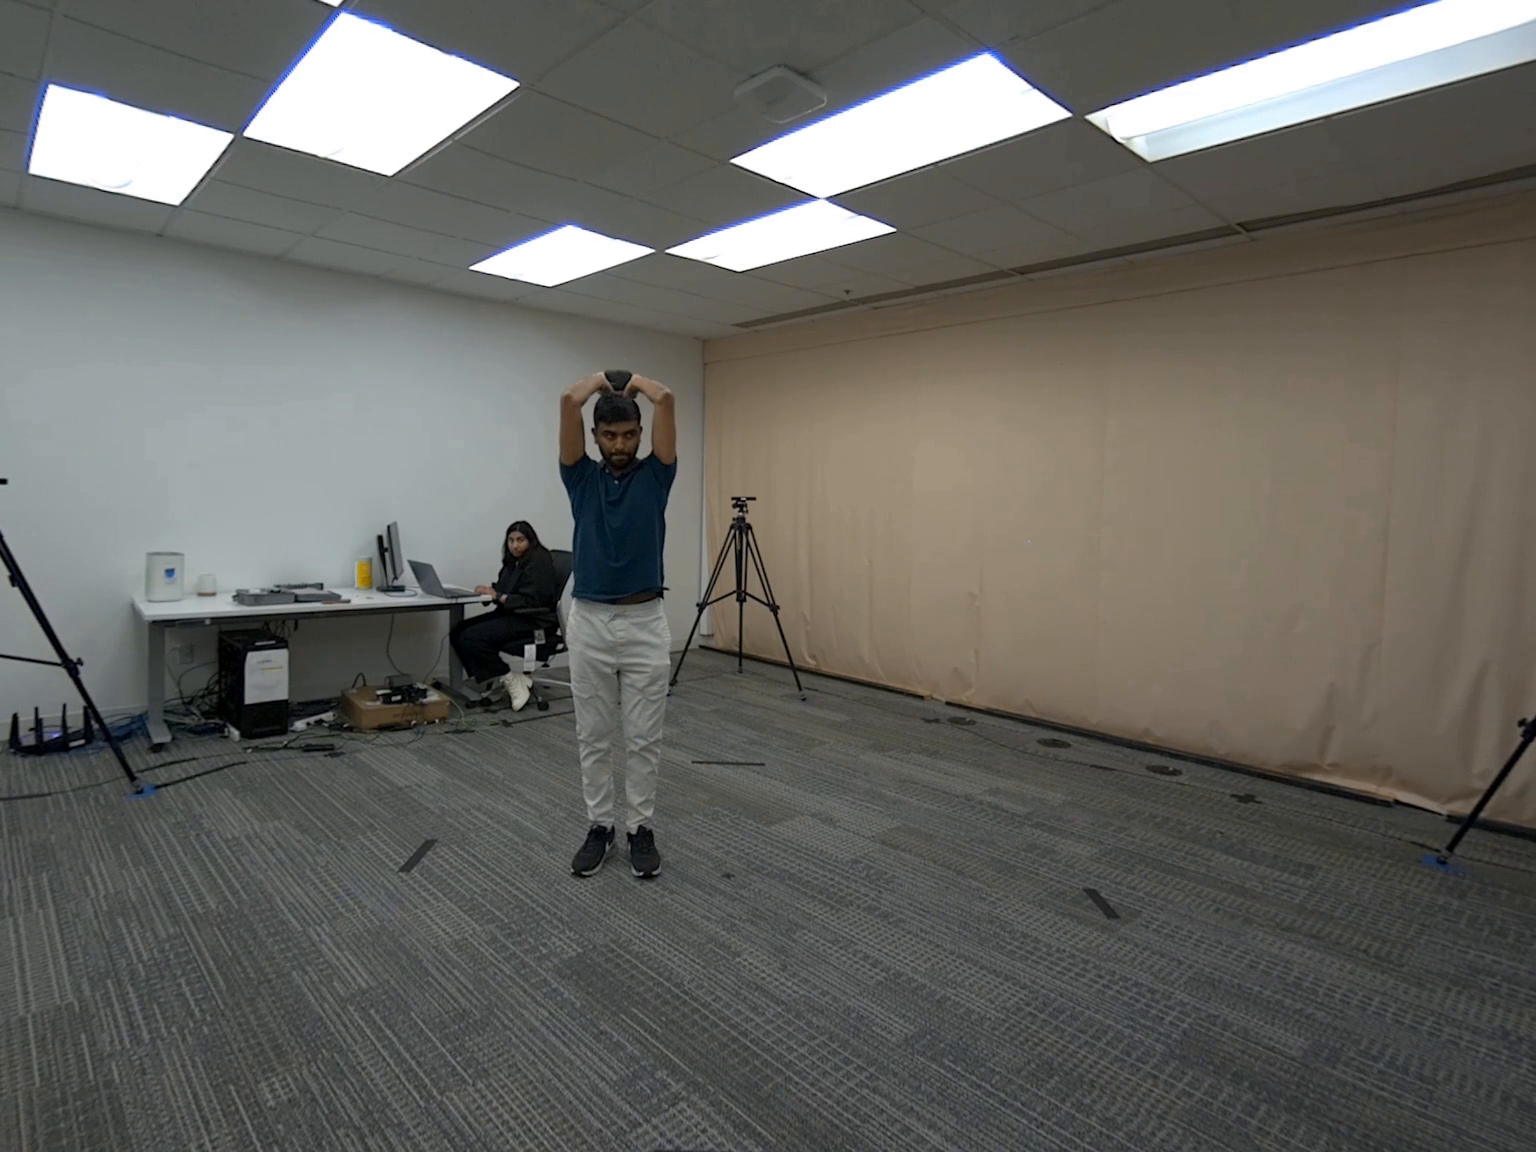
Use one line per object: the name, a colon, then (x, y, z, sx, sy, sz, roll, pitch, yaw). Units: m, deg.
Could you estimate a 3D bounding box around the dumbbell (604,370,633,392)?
dumbbell: (-0.612, -0.662, 3.311, 0.109, 0.291, 0.124, 1, 11, 1)
